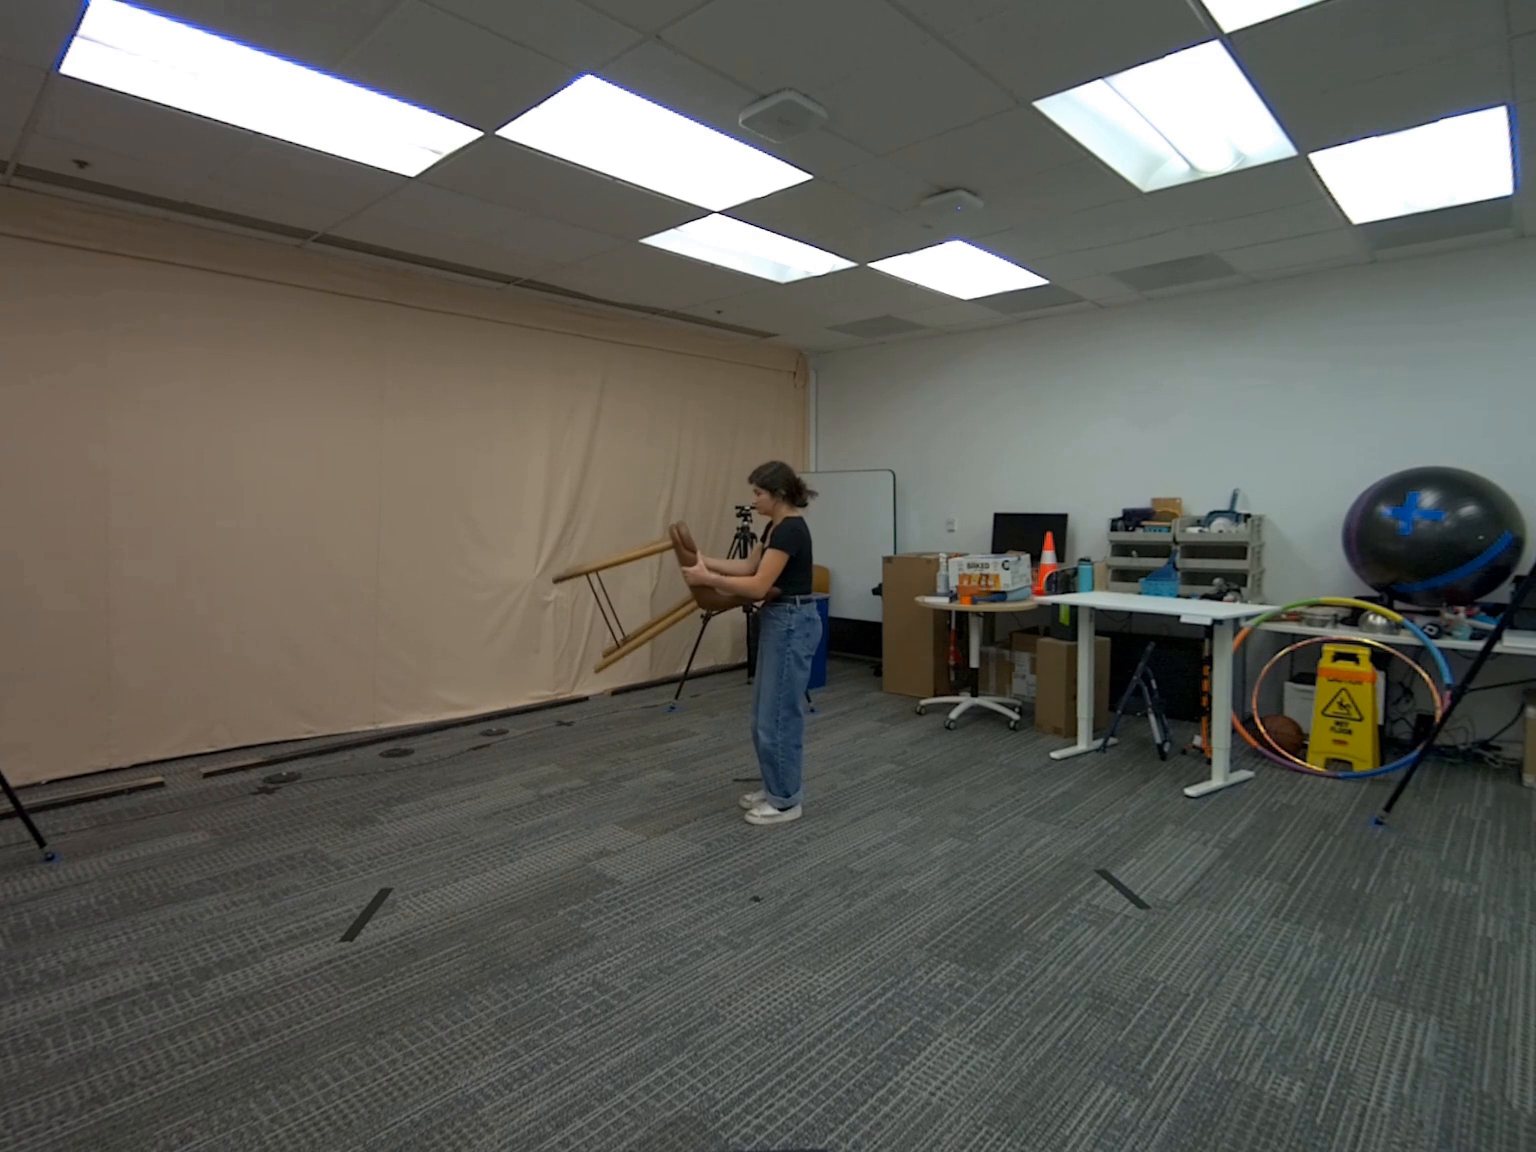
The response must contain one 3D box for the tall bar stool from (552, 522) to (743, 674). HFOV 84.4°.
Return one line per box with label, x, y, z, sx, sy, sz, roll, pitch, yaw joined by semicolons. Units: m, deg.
tall bar stool;-0.443;0.039;3.770;0.888;0.466;0.459;-22;5;-2
